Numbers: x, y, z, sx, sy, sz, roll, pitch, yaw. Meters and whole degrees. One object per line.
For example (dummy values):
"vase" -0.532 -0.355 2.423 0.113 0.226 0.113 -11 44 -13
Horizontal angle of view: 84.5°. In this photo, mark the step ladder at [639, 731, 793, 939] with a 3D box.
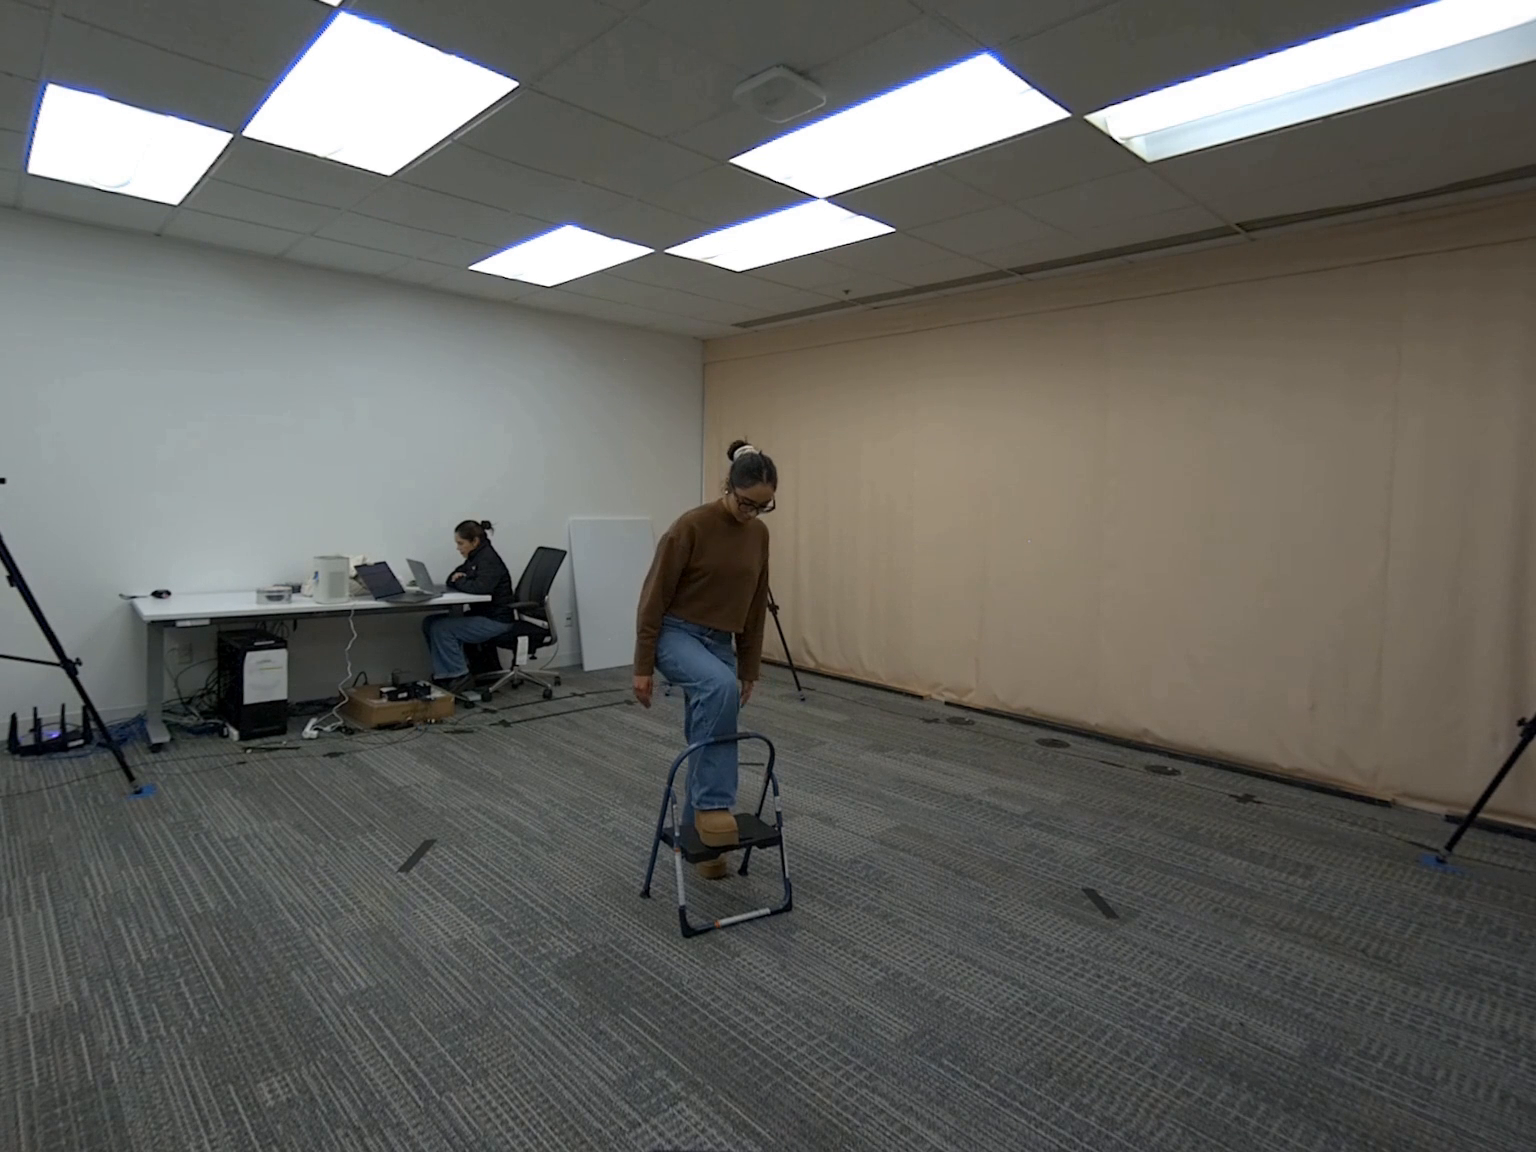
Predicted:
"step ladder" -0.178 0.824 2.881 0.421 0.604 0.357 -1 4 -32
